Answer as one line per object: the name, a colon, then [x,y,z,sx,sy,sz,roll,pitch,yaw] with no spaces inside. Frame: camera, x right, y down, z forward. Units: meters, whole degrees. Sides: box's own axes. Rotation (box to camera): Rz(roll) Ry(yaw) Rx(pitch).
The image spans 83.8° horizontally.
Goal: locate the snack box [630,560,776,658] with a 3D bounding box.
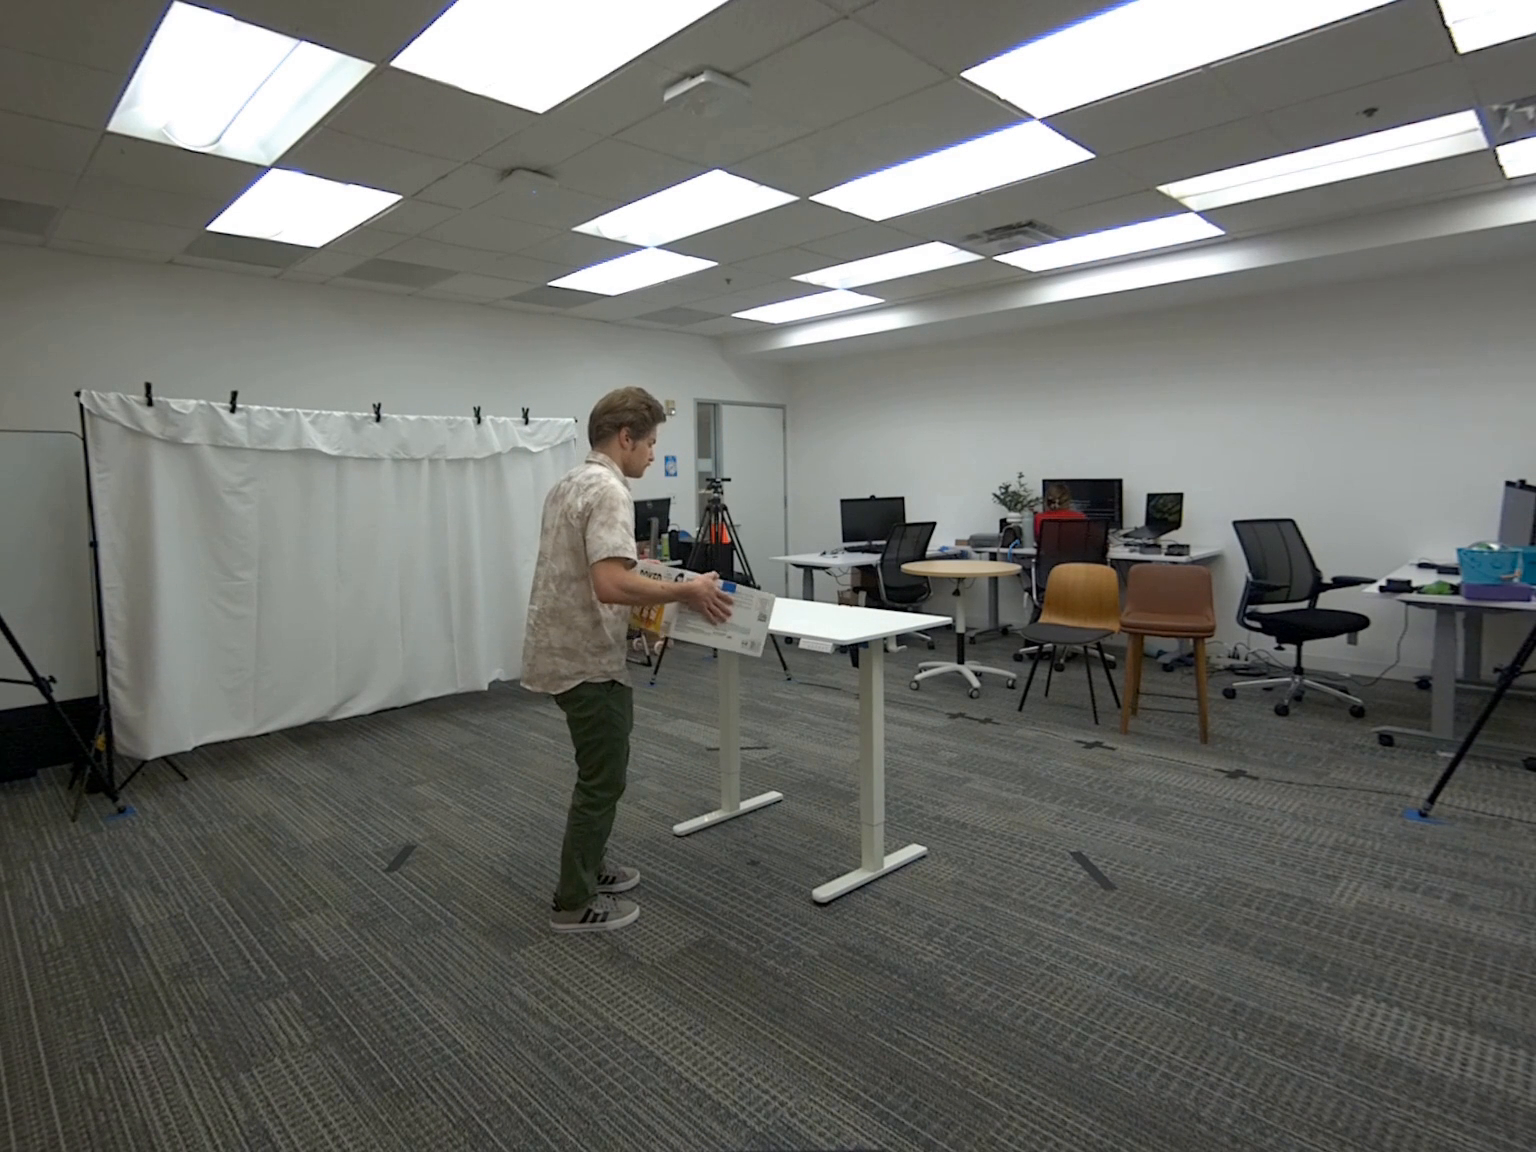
snack box: [-0.244,0.098,2.736,0.329,0.206,0.417,16,-3,-33]
